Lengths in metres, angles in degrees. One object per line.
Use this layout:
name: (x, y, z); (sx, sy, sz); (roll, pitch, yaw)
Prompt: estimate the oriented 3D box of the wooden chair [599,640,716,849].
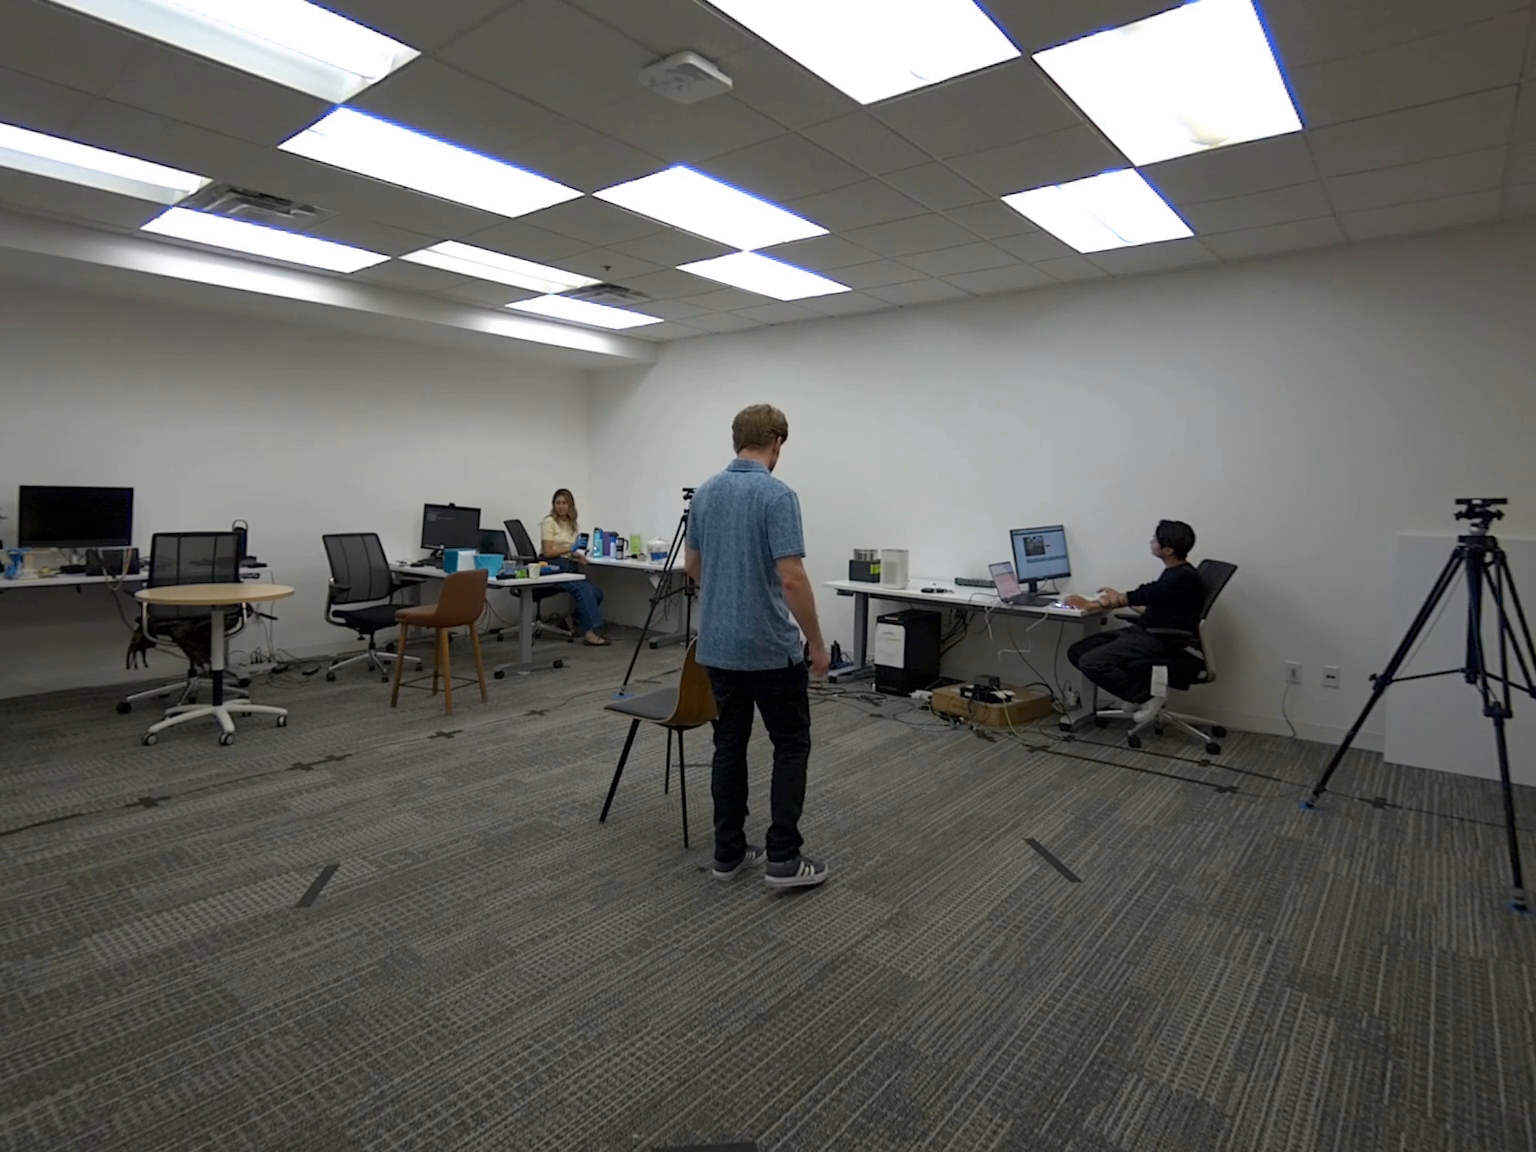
wooden chair: (-0.404, 0.595, 3.567); (0.540, 0.873, 0.465); (9, 7, 33)
